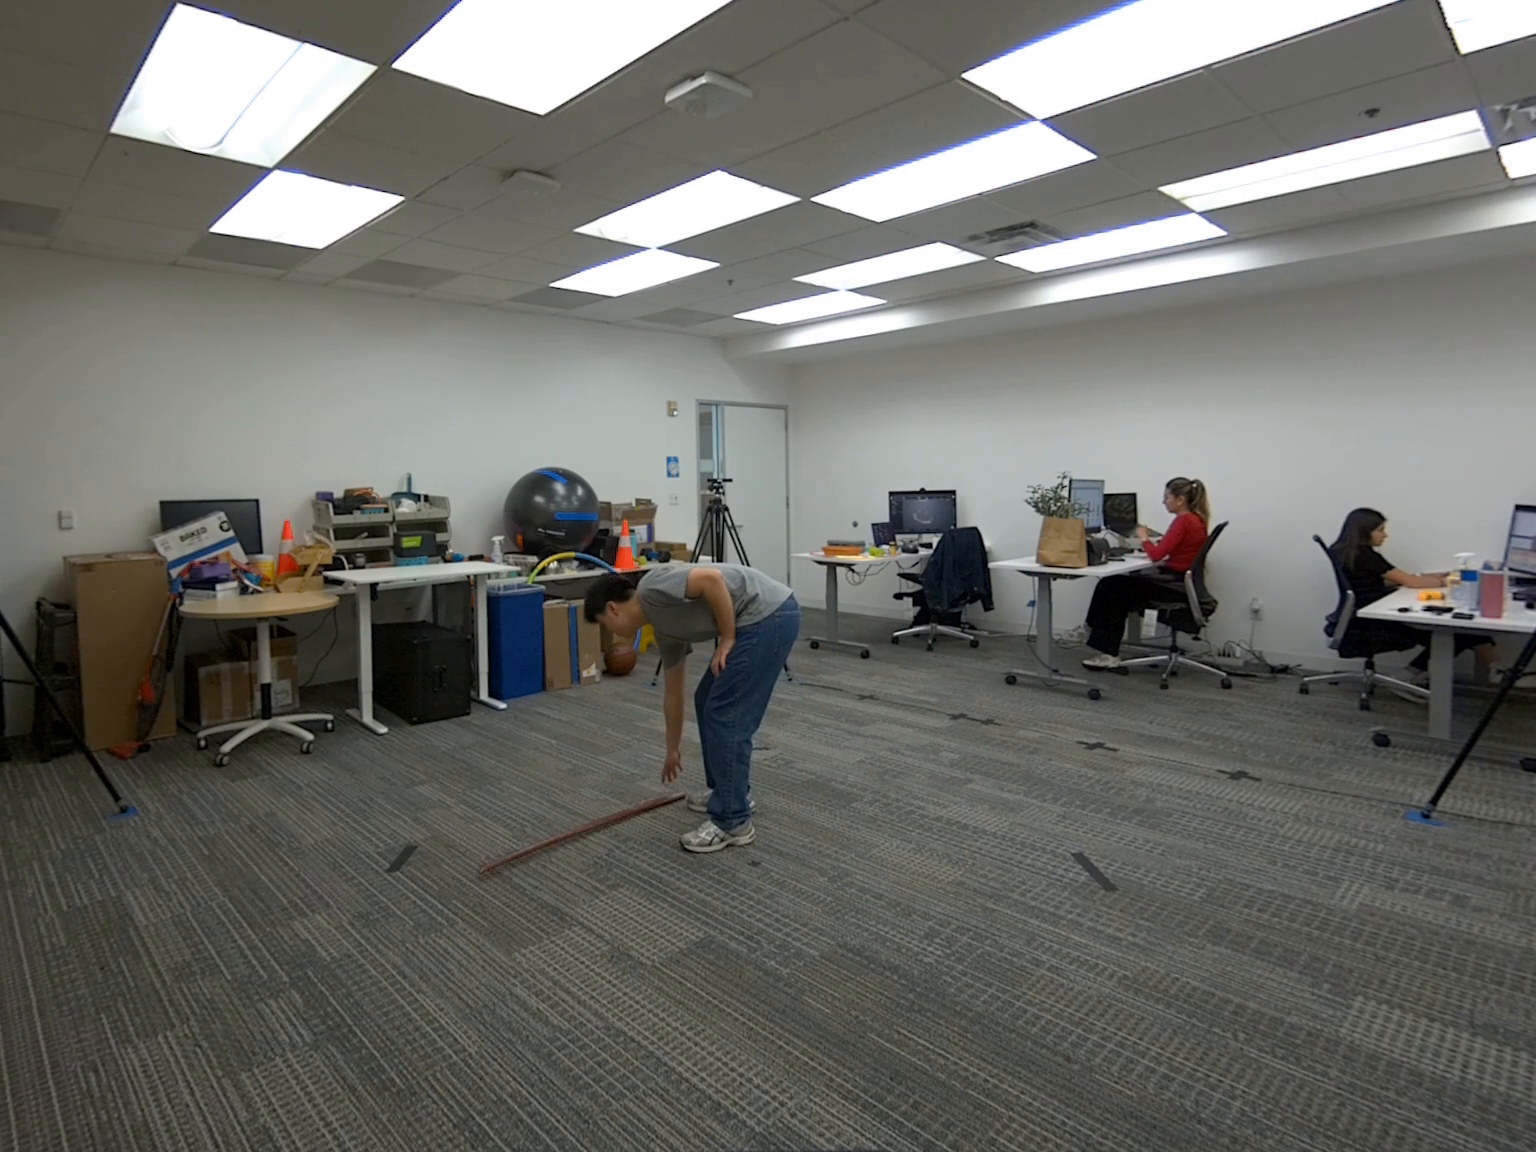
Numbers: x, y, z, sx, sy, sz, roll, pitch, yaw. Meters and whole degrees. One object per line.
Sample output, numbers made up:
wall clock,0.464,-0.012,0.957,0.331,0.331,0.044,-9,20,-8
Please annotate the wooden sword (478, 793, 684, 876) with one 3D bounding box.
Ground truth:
wooden sword,-0.694,0.994,3.394,0.052,0.024,0.999,-22,-9,40
